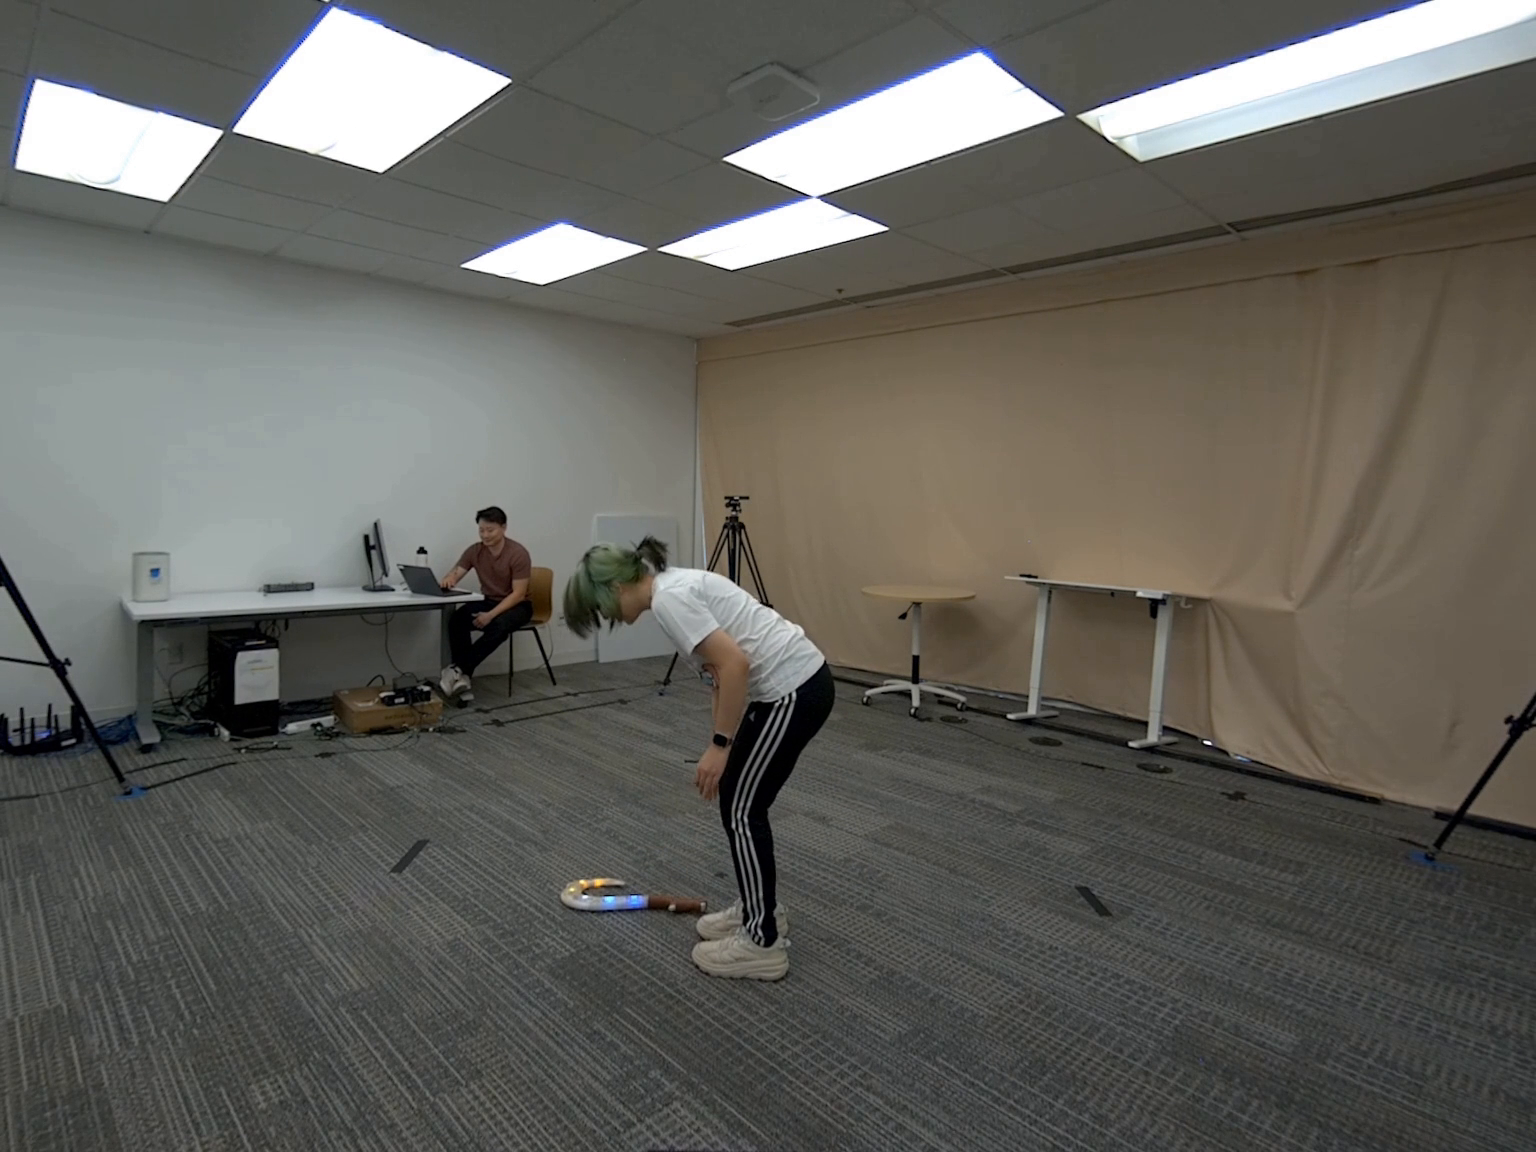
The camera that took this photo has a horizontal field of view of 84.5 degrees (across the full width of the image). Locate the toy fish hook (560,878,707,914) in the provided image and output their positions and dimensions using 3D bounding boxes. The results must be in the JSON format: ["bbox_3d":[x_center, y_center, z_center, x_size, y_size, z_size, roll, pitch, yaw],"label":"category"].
[{"bbox_3d":[-0.458,1.093,2.889,0.509,0.048,0.224,2,6,5],"label":"toy fish hook"}]
